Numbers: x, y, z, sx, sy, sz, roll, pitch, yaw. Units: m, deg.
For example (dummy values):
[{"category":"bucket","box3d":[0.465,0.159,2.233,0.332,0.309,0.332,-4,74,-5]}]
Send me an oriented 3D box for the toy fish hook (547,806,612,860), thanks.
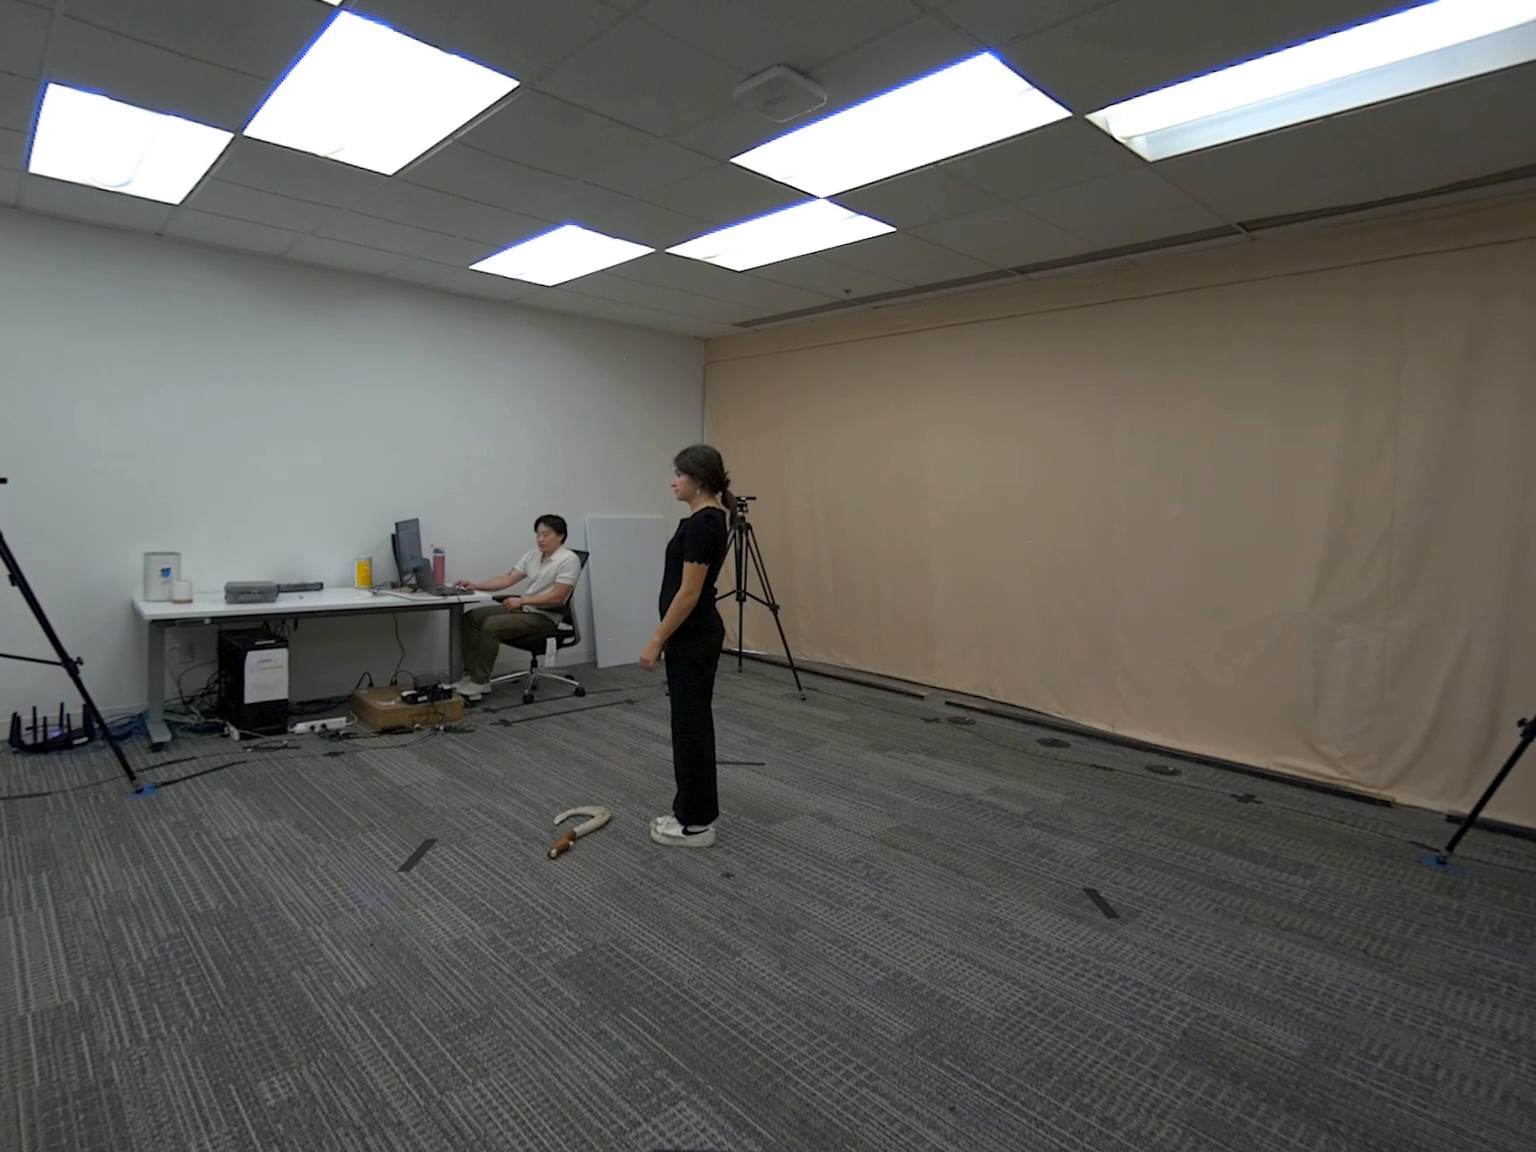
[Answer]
[{"category":"toy fish hook","box3d":[-0.825,1.042,3.450,0.227,0.048,0.501,-5,3,15]}]
